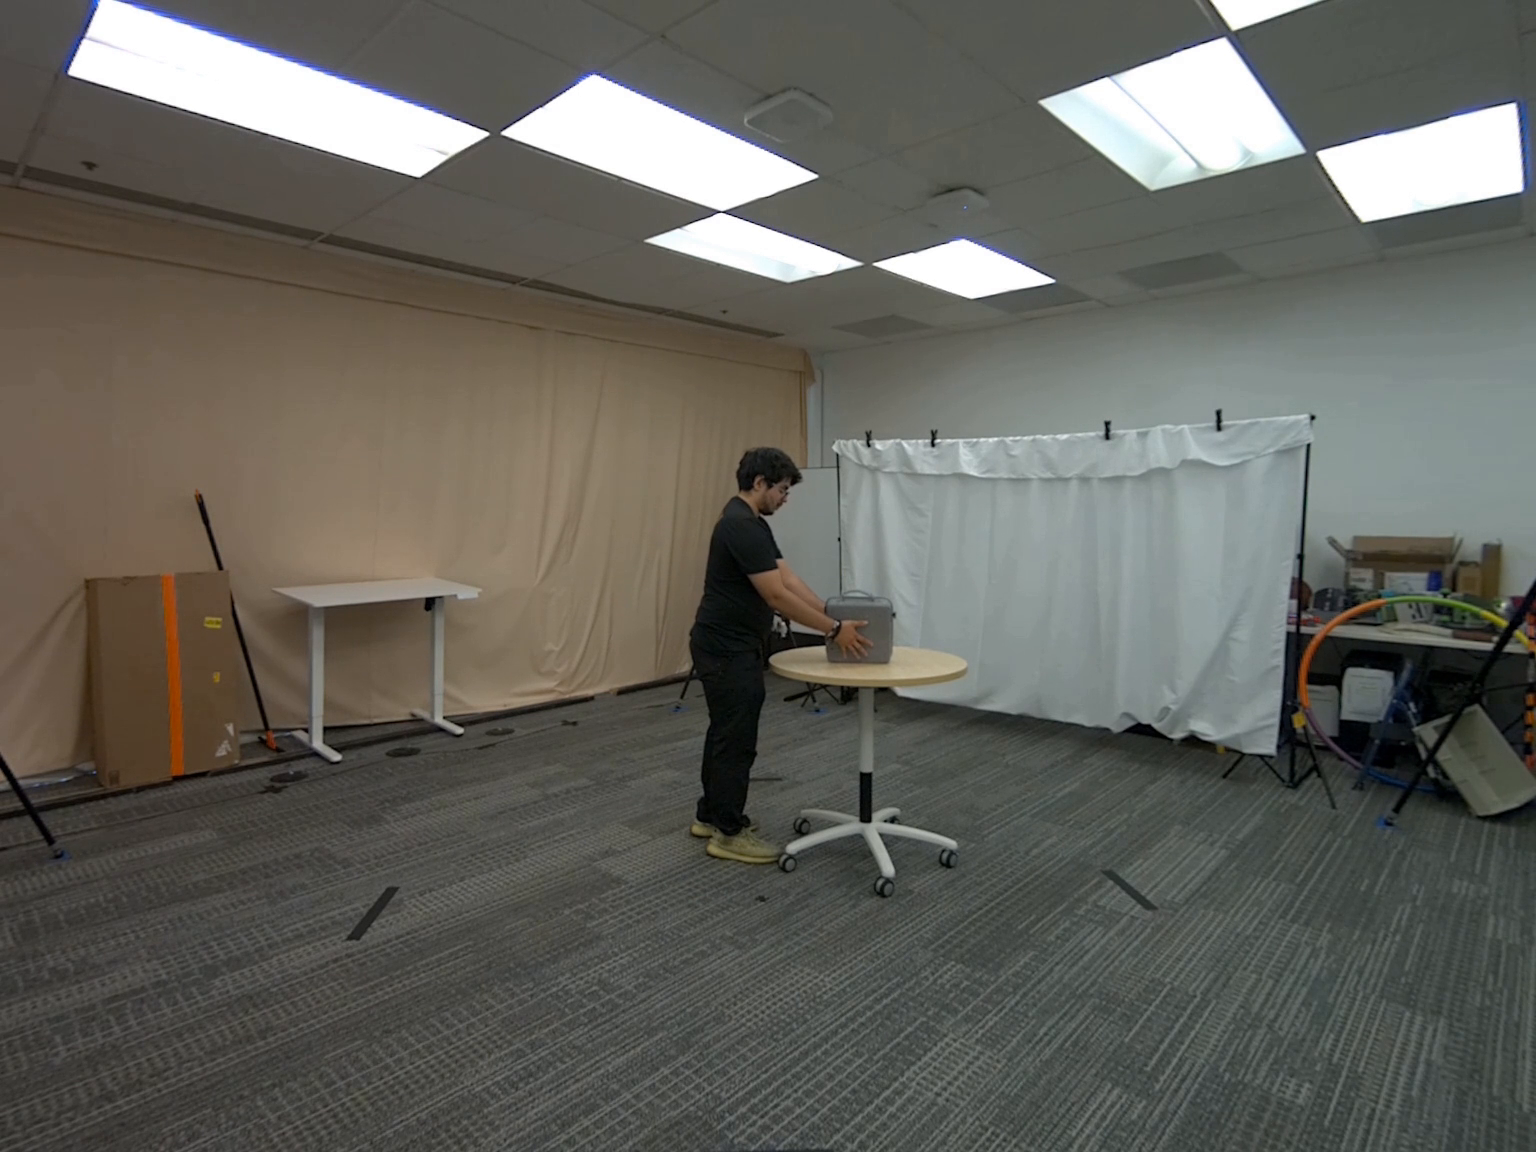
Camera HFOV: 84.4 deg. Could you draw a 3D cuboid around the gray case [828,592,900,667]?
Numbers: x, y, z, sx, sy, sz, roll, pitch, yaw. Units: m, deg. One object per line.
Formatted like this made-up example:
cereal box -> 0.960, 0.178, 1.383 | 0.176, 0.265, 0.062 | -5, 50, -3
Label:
gray case -> 0.364, 0.202, 3.252 | 0.259, 0.258, 0.104 | -1, 11, 7
